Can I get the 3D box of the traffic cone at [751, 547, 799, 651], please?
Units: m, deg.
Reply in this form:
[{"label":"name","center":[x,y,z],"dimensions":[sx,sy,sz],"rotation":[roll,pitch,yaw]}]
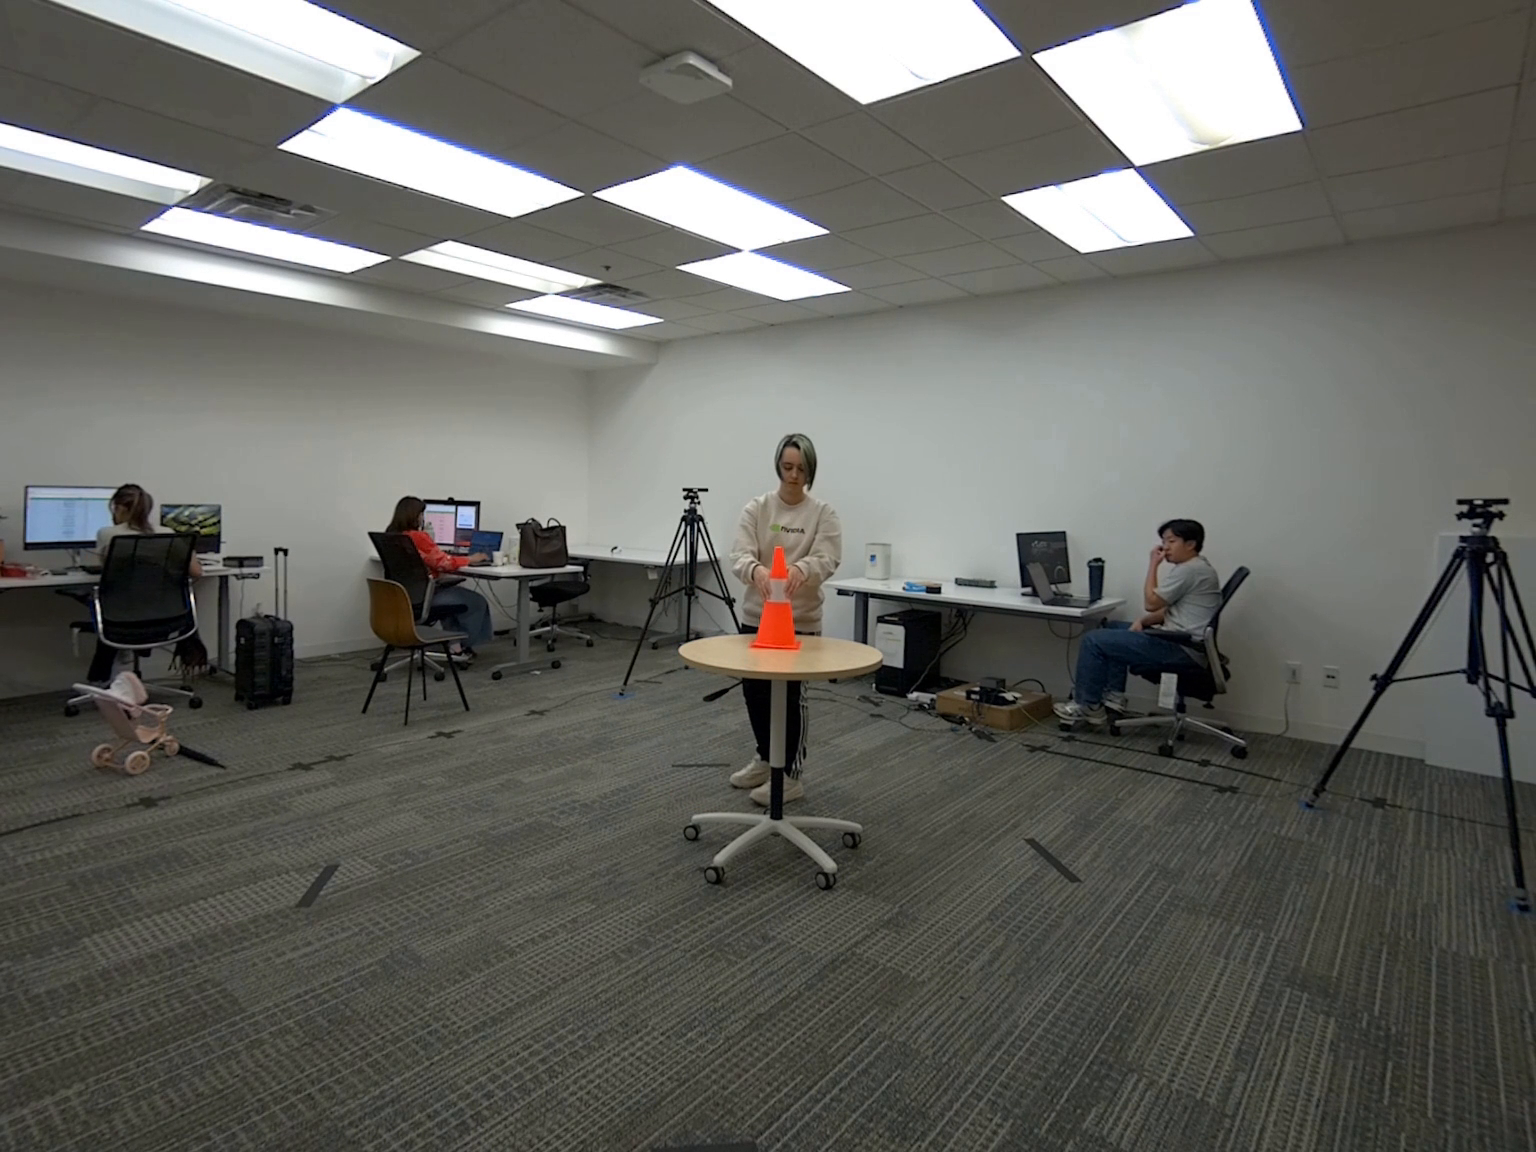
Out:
[{"label":"traffic cone","center":[0.028,0.073,3.354],"dimensions":[0.207,0.383,0.201],"rotation":[3,1,8]}]
